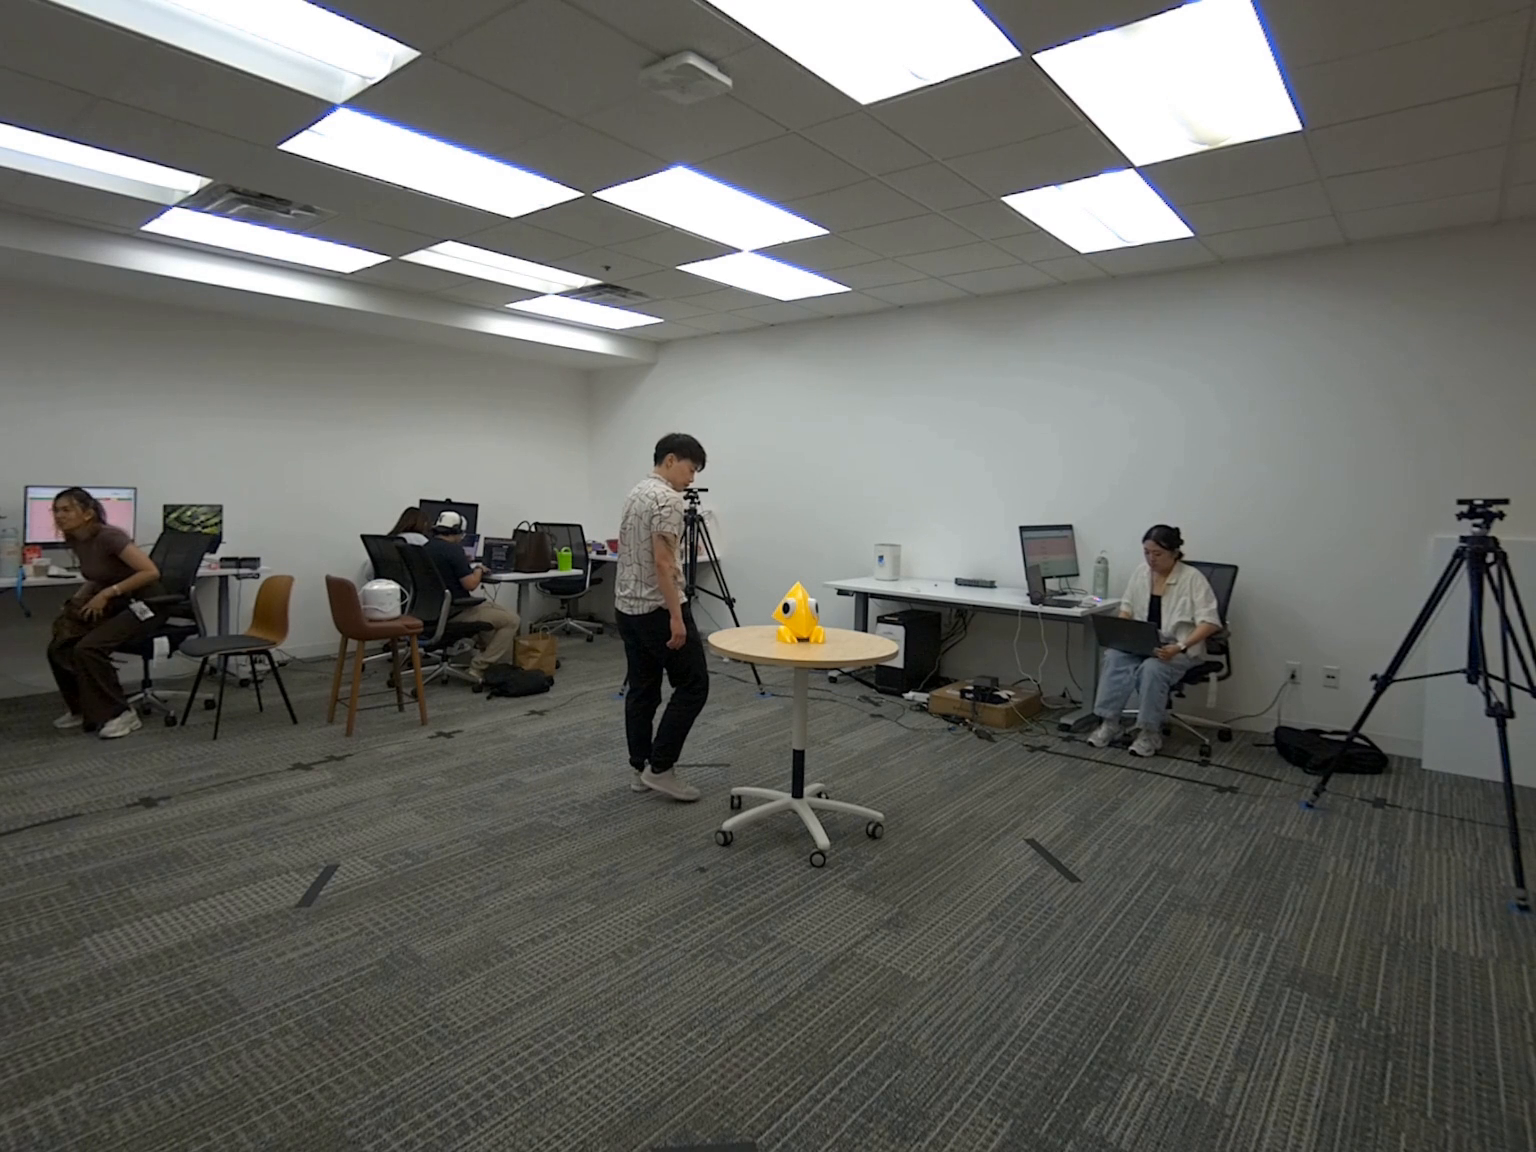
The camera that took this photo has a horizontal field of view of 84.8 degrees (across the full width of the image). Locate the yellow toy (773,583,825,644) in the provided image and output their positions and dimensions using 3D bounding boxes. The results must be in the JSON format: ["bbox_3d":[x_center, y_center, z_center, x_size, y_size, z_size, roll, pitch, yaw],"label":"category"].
[{"bbox_3d":[0.130,0.143,3.486,0.203,0.230,0.196,1,4,-9],"label":"yellow toy"}]
